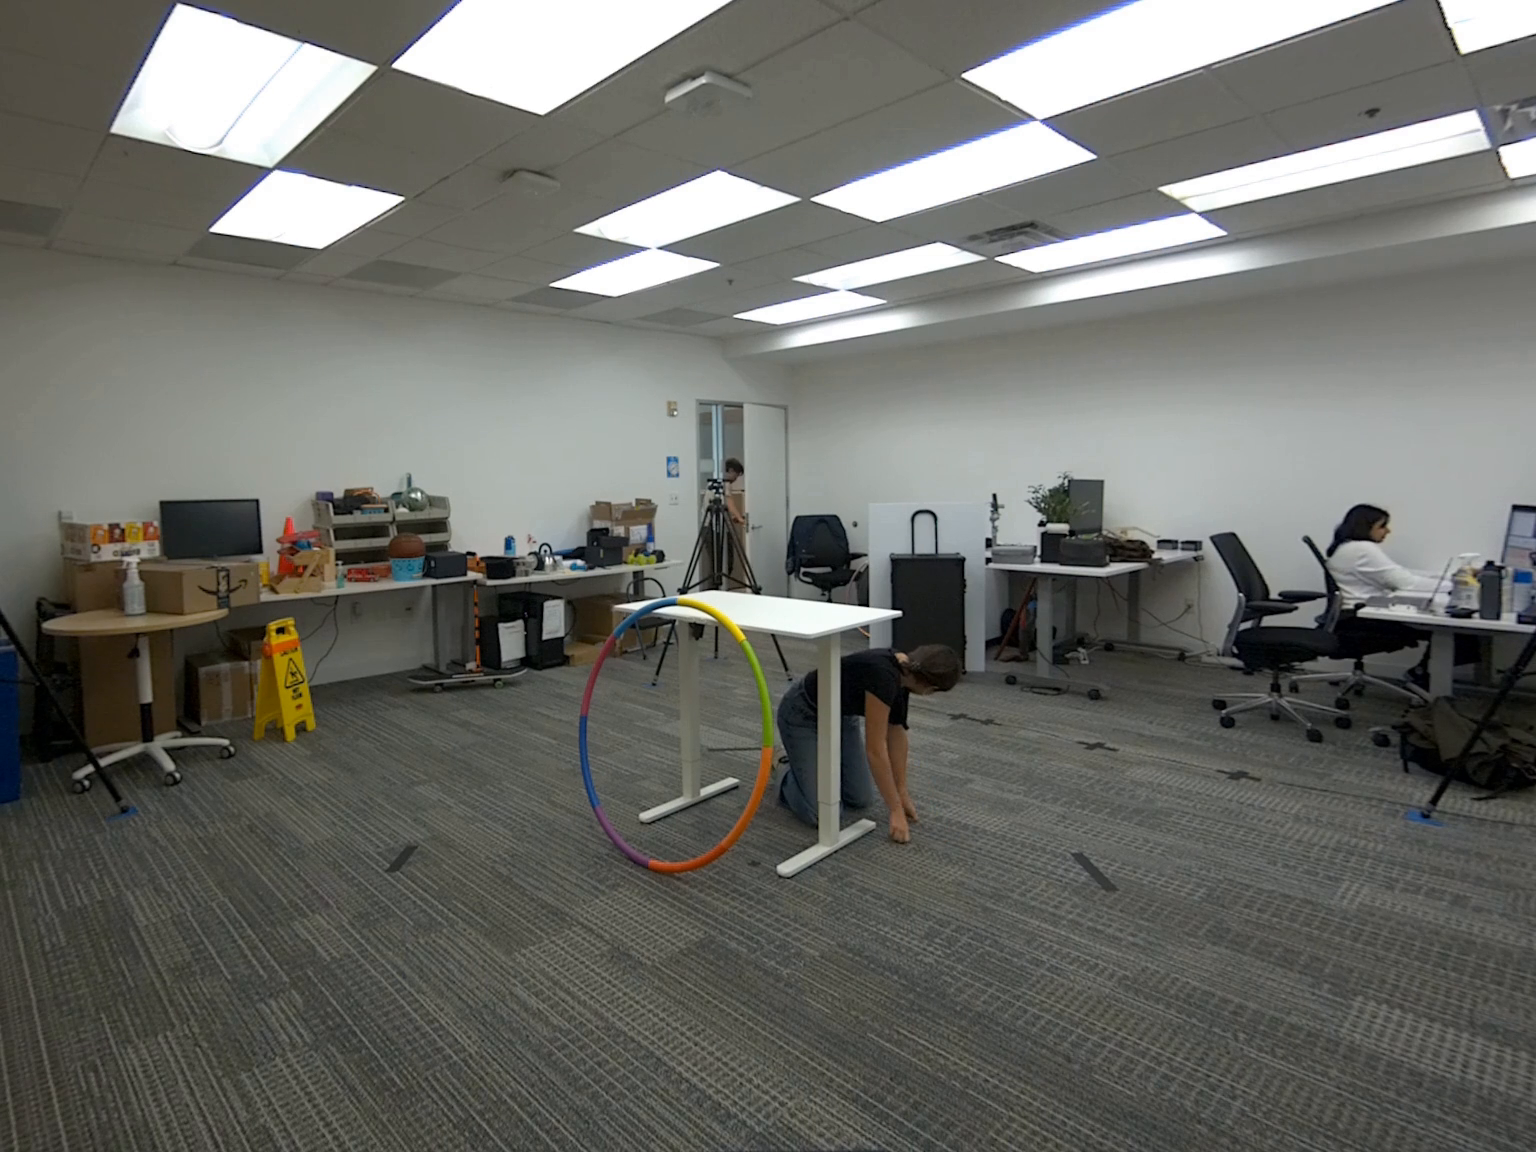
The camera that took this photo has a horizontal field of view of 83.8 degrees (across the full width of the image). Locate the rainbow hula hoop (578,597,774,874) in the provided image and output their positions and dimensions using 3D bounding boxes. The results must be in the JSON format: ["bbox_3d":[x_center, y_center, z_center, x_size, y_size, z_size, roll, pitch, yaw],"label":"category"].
[{"bbox_3d":[-0.374,0.574,3.154,1.008,0.984,0.034,3,-9,41],"label":"rainbow hula hoop"}]
